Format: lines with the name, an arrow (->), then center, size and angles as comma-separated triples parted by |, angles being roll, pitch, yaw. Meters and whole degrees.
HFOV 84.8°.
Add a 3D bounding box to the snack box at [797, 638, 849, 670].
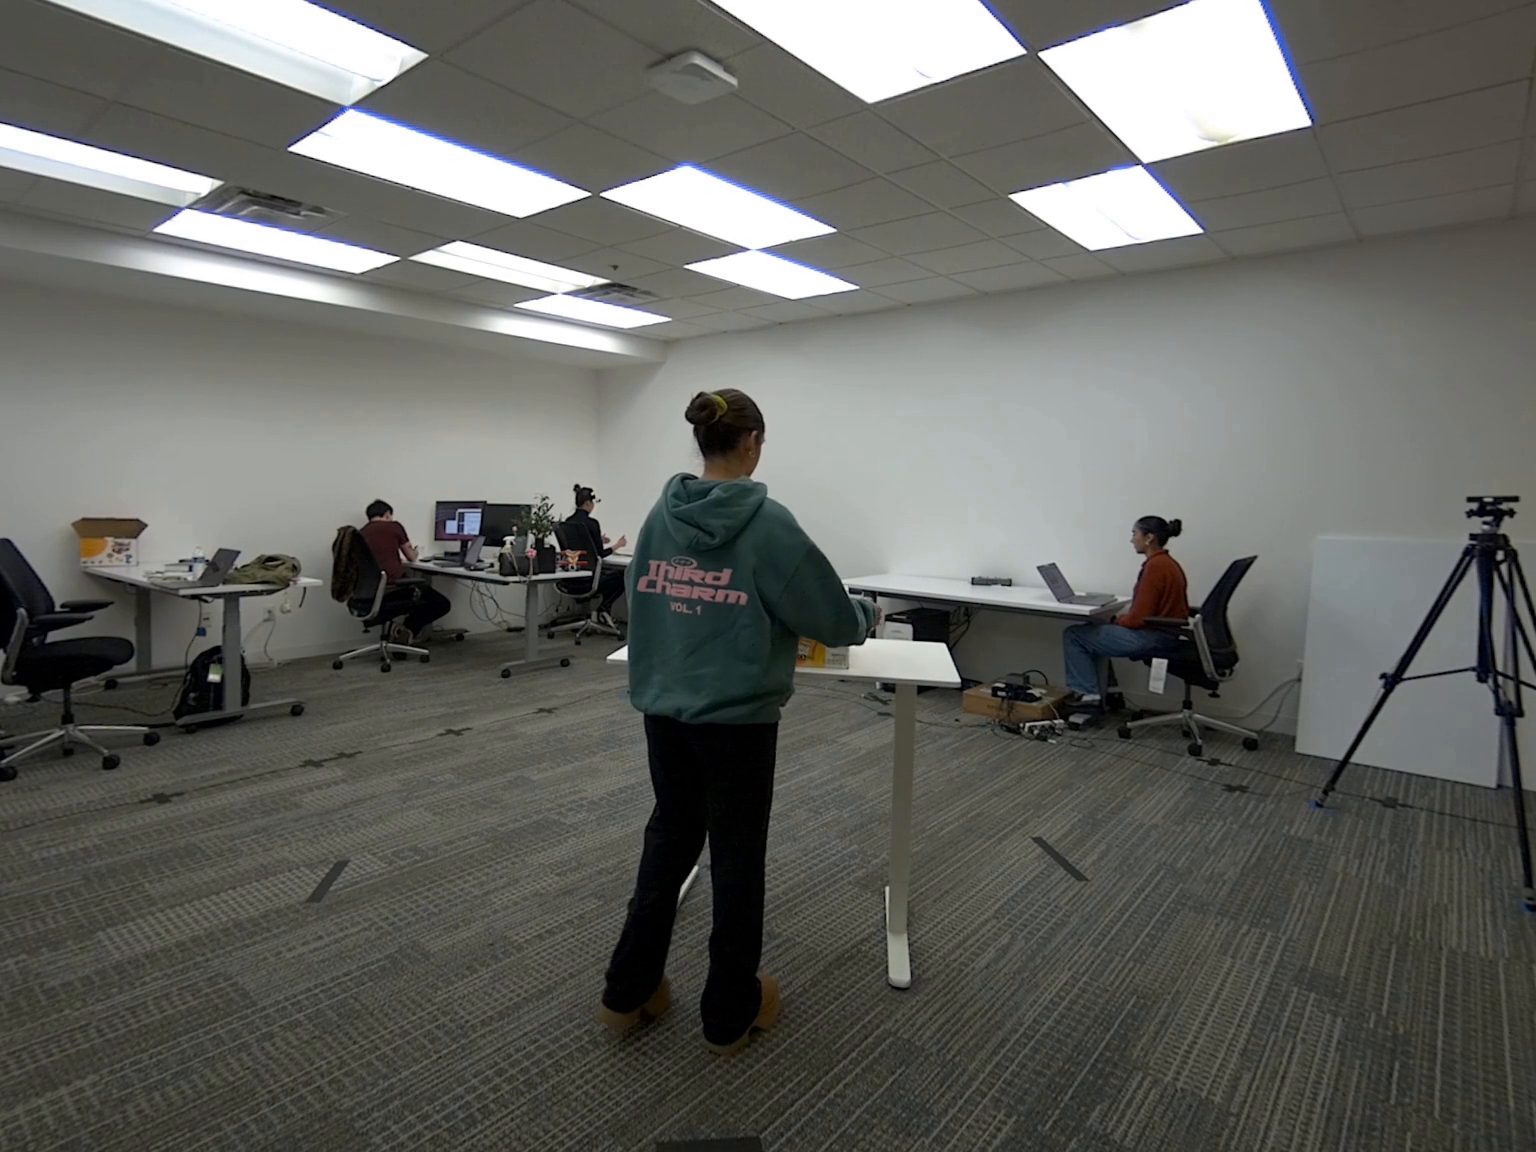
snack box -> 0.035, 0.139, 2.601 | 0.408, 0.205, 0.339 | 2, 5, 6
